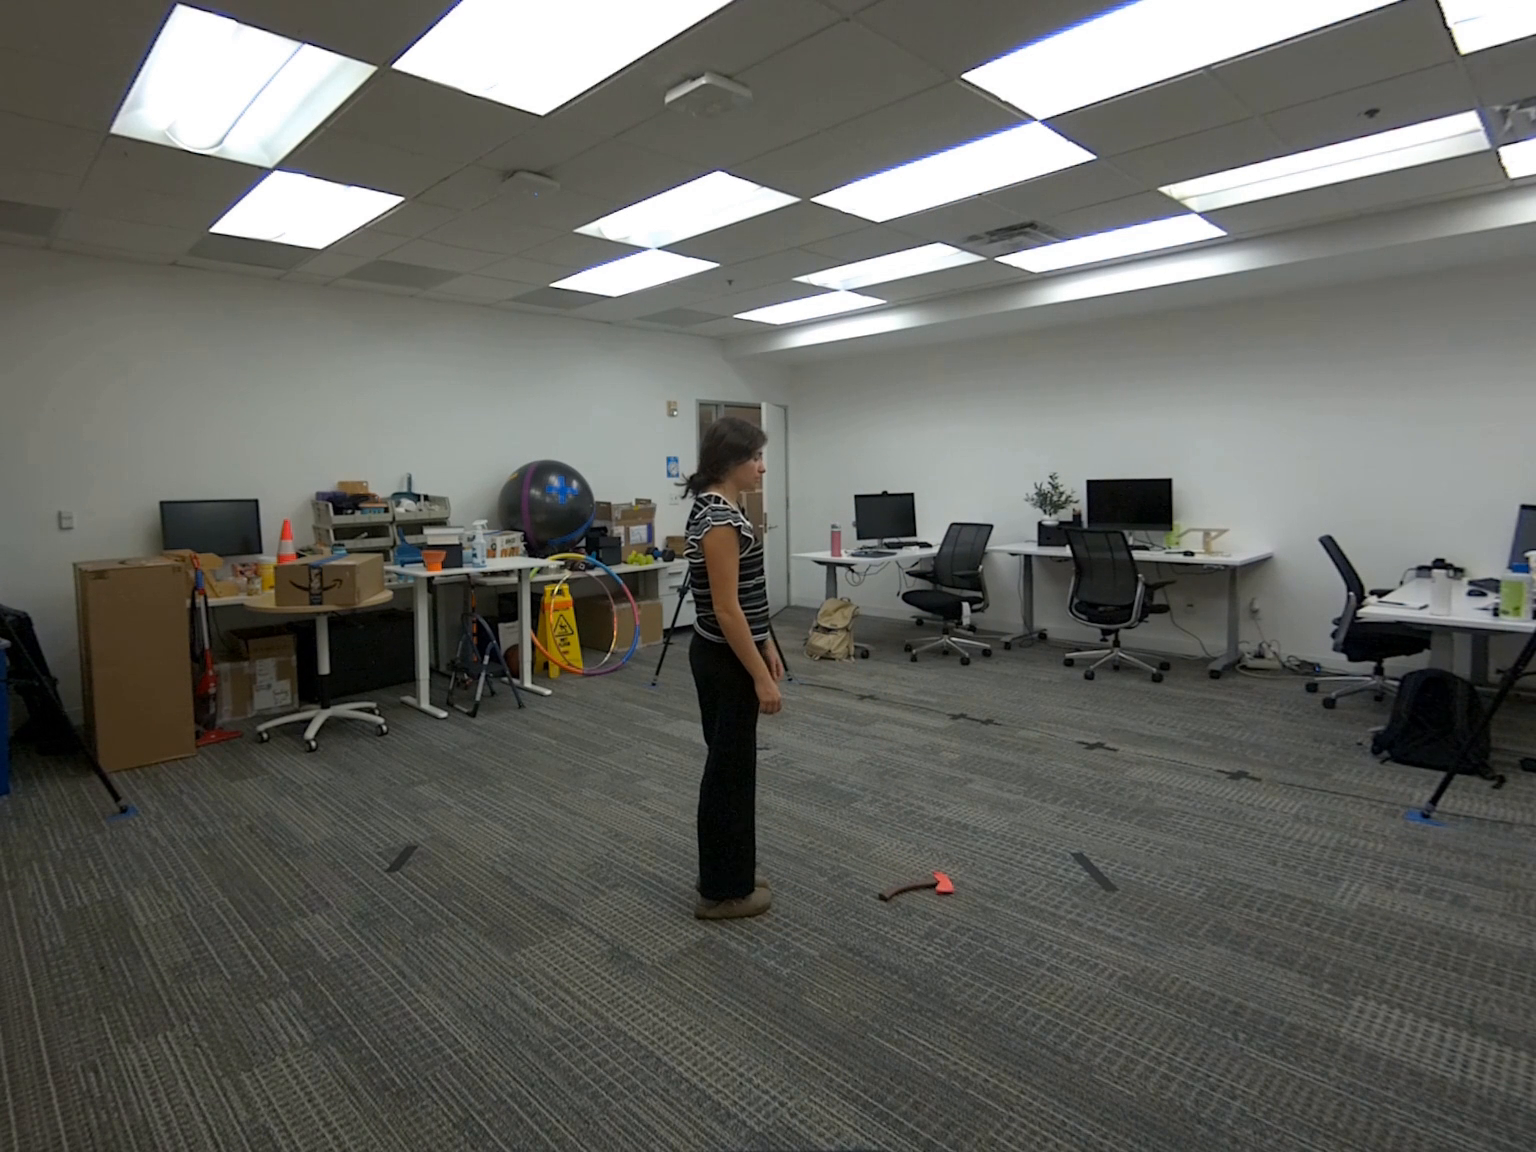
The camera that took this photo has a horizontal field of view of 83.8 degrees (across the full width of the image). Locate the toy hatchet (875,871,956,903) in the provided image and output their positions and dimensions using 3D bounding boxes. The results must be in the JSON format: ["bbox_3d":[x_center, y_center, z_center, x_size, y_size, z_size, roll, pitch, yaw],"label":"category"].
[{"bbox_3d":[0.512,1.045,2.855,0.263,0.029,0.135,-6,13,-34],"label":"toy hatchet"}]
